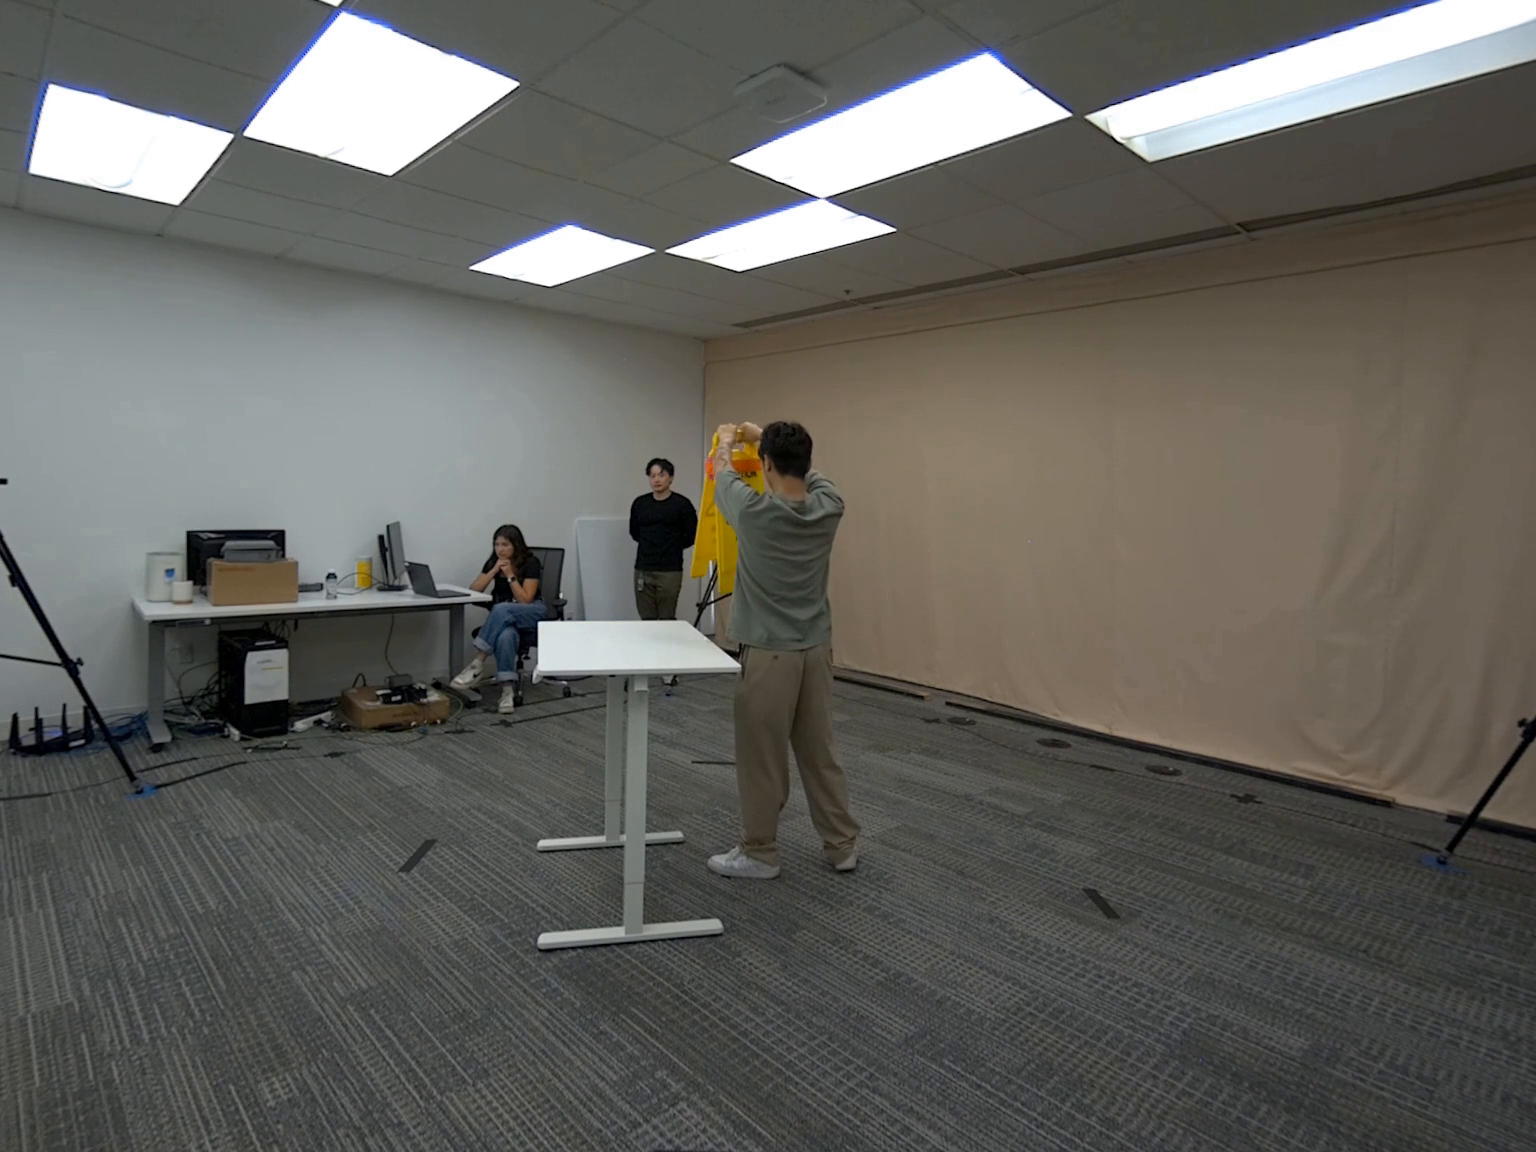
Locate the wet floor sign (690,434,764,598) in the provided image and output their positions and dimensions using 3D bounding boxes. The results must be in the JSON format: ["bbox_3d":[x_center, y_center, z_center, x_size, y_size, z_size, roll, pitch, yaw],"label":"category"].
[{"bbox_3d":[-0.150,-0.283,3.535,0.277,0.639,0.298,-8,18,-32],"label":"wet floor sign"}]
